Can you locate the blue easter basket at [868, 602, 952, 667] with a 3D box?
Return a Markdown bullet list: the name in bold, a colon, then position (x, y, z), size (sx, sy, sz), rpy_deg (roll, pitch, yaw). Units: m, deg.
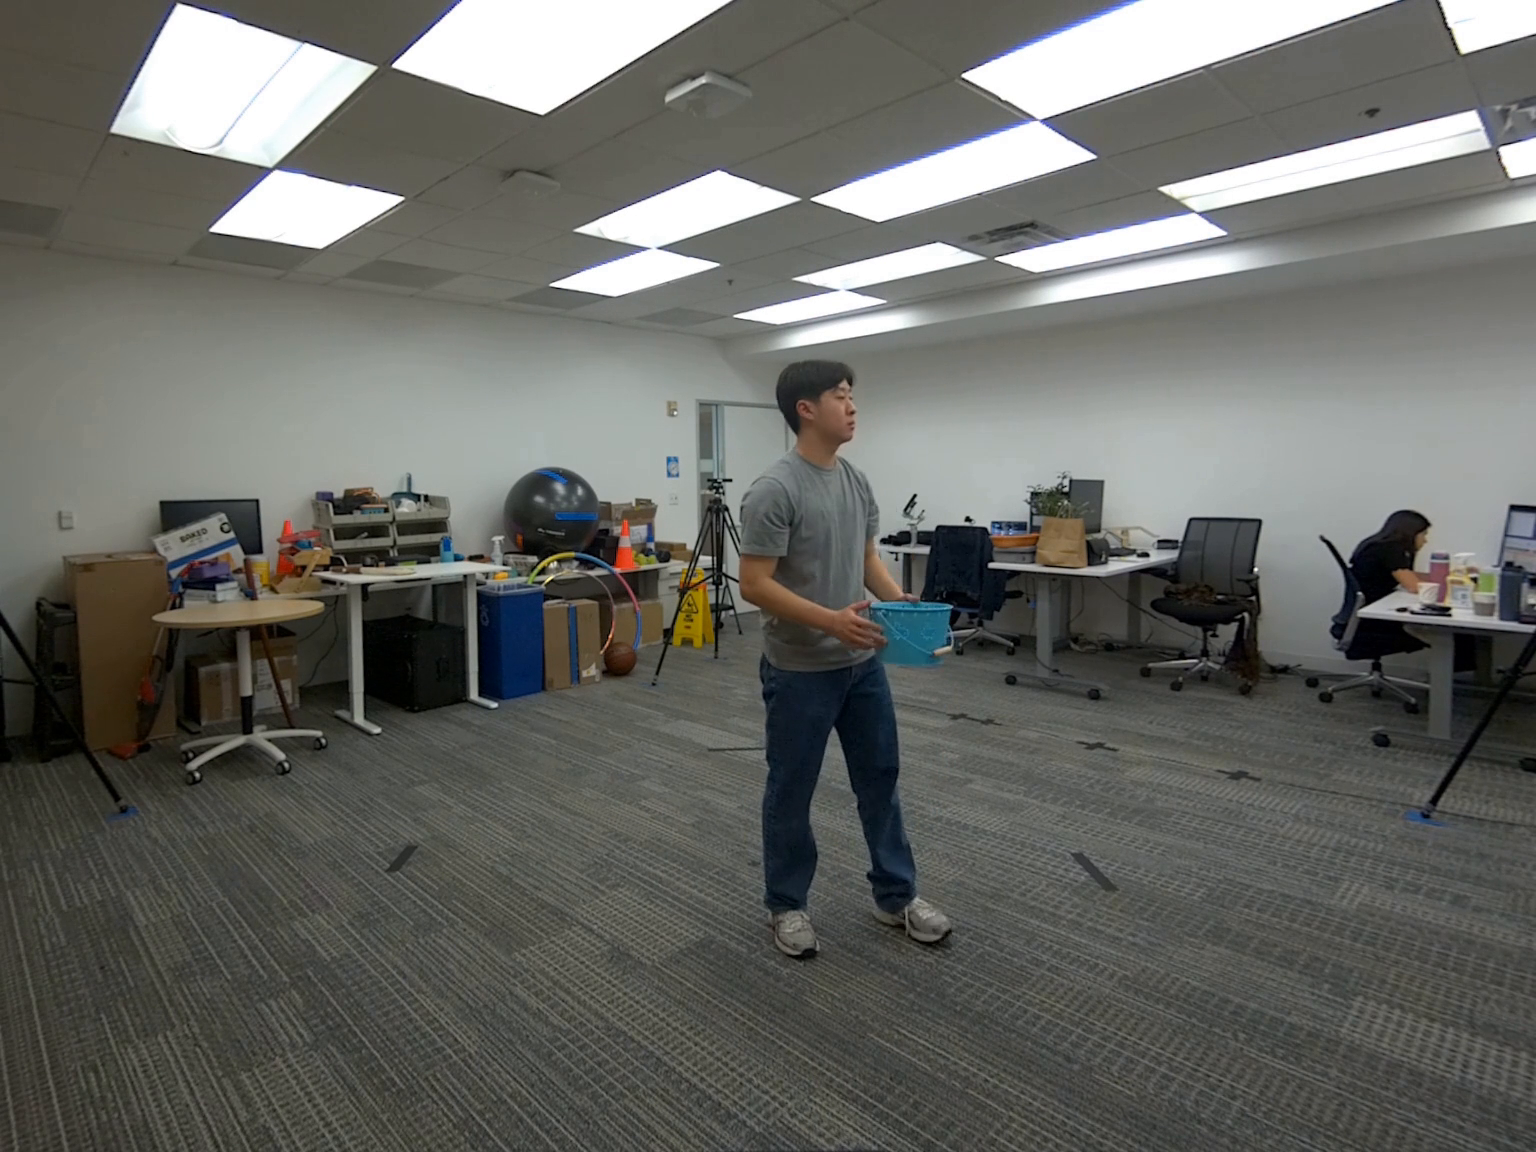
- **blue easter basket**: position (0.387, 0.160, 2.330), size (0.243, 0.156, 0.244), rpy_deg (-1, 3, -2)
